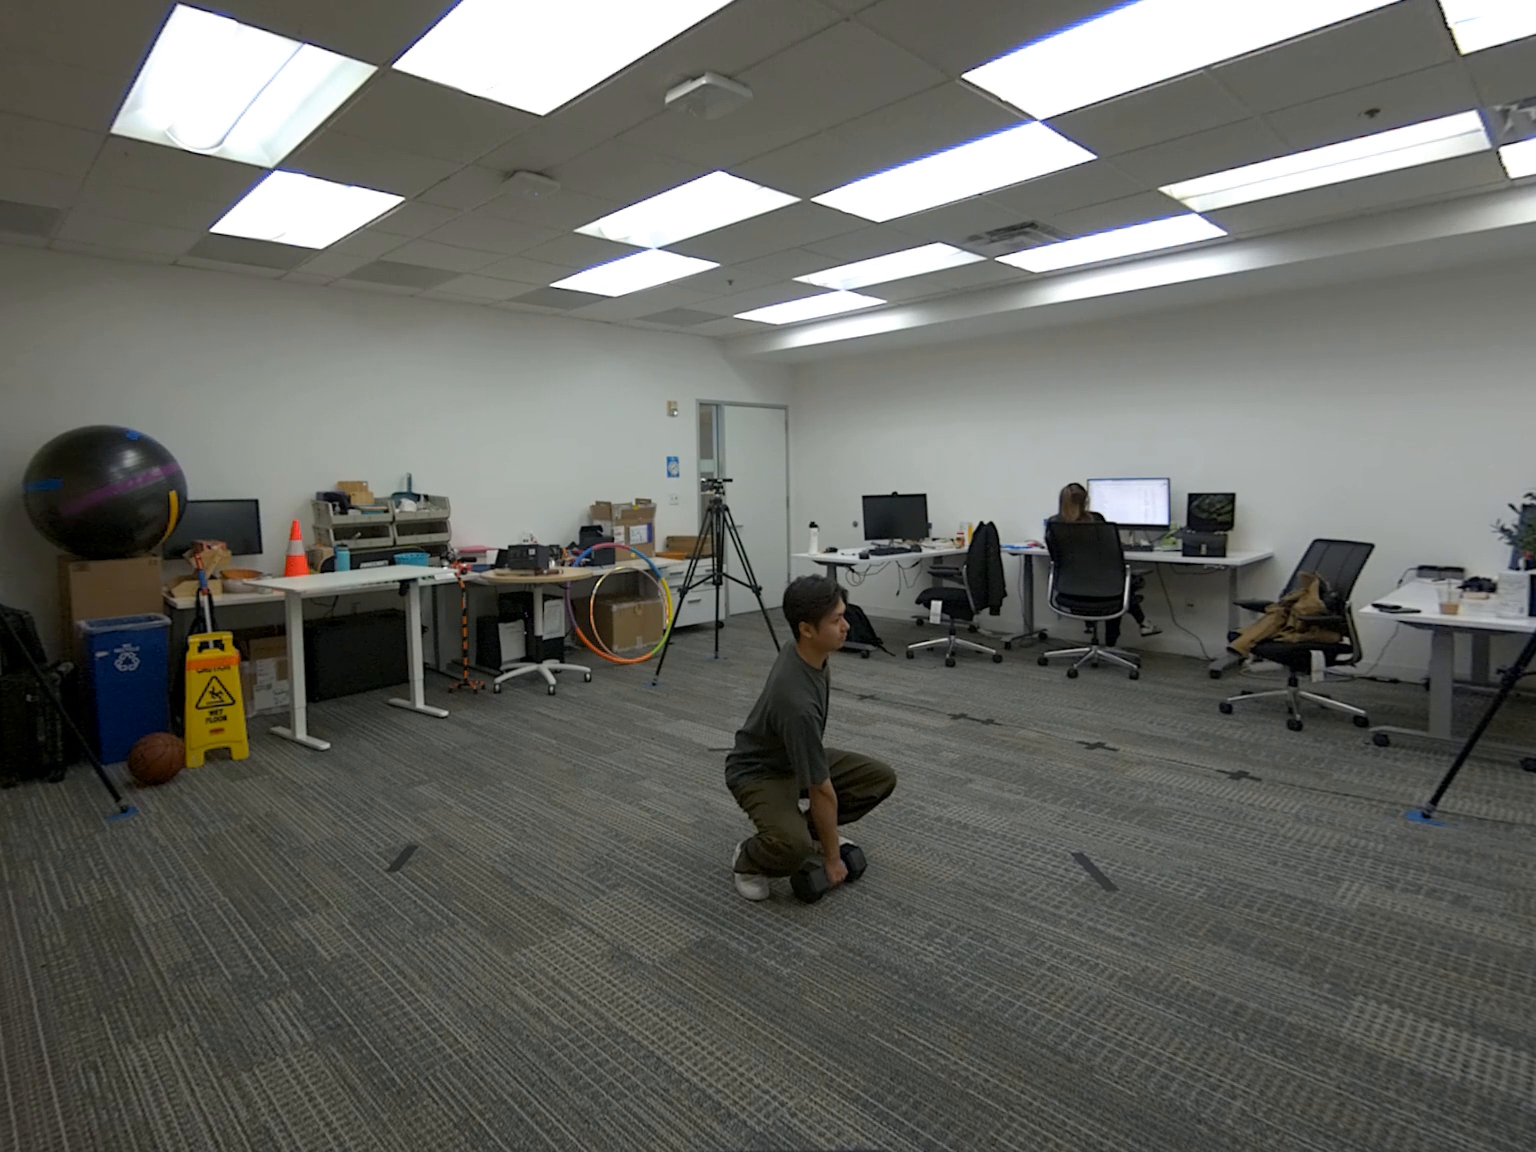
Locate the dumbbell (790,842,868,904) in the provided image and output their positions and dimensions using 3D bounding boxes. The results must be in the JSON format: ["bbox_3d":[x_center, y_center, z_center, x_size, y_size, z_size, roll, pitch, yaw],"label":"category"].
[{"bbox_3d":[0.205,1.005,2.907,0.286,0.121,0.113,-7,38,-45],"label":"dumbbell"}]
